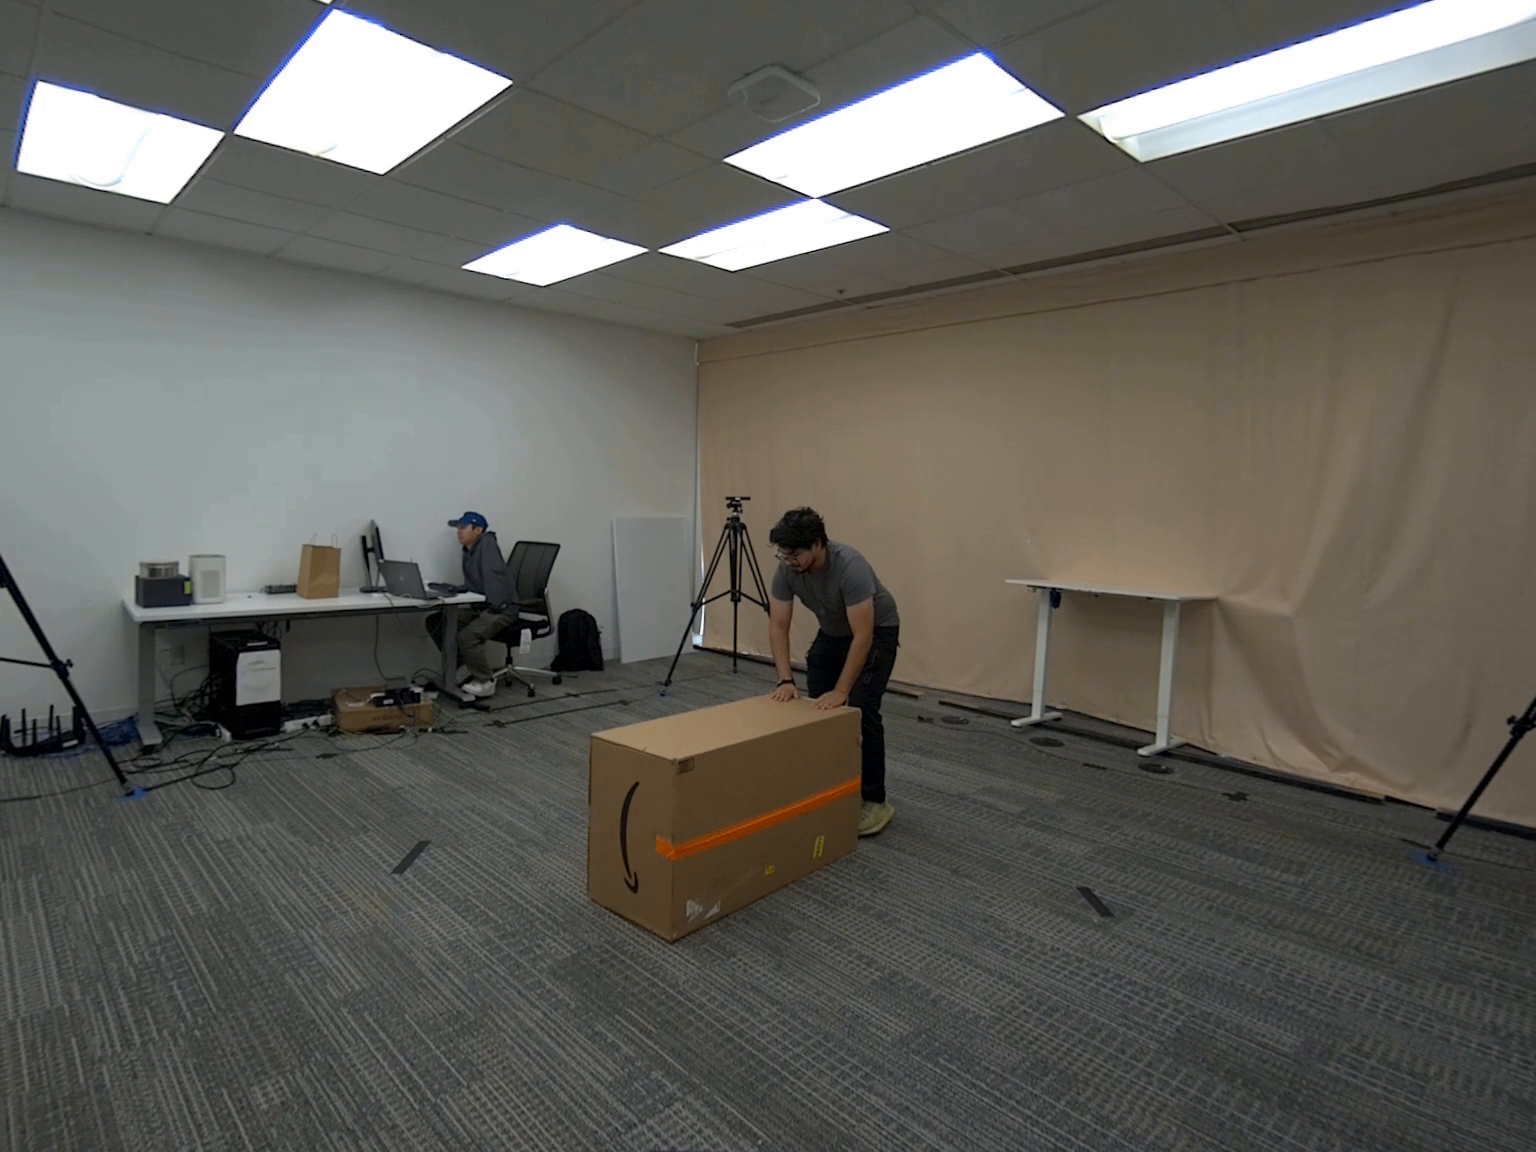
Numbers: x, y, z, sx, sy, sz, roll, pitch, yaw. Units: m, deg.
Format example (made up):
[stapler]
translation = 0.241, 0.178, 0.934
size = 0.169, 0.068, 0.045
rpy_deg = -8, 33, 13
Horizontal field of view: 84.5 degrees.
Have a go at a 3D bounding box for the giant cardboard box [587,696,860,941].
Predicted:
[giant cardboard box]
translation = -0.131, 0.816, 3.107
size = 0.437, 0.576, 1.003
rpy_deg = 5, 6, 41
